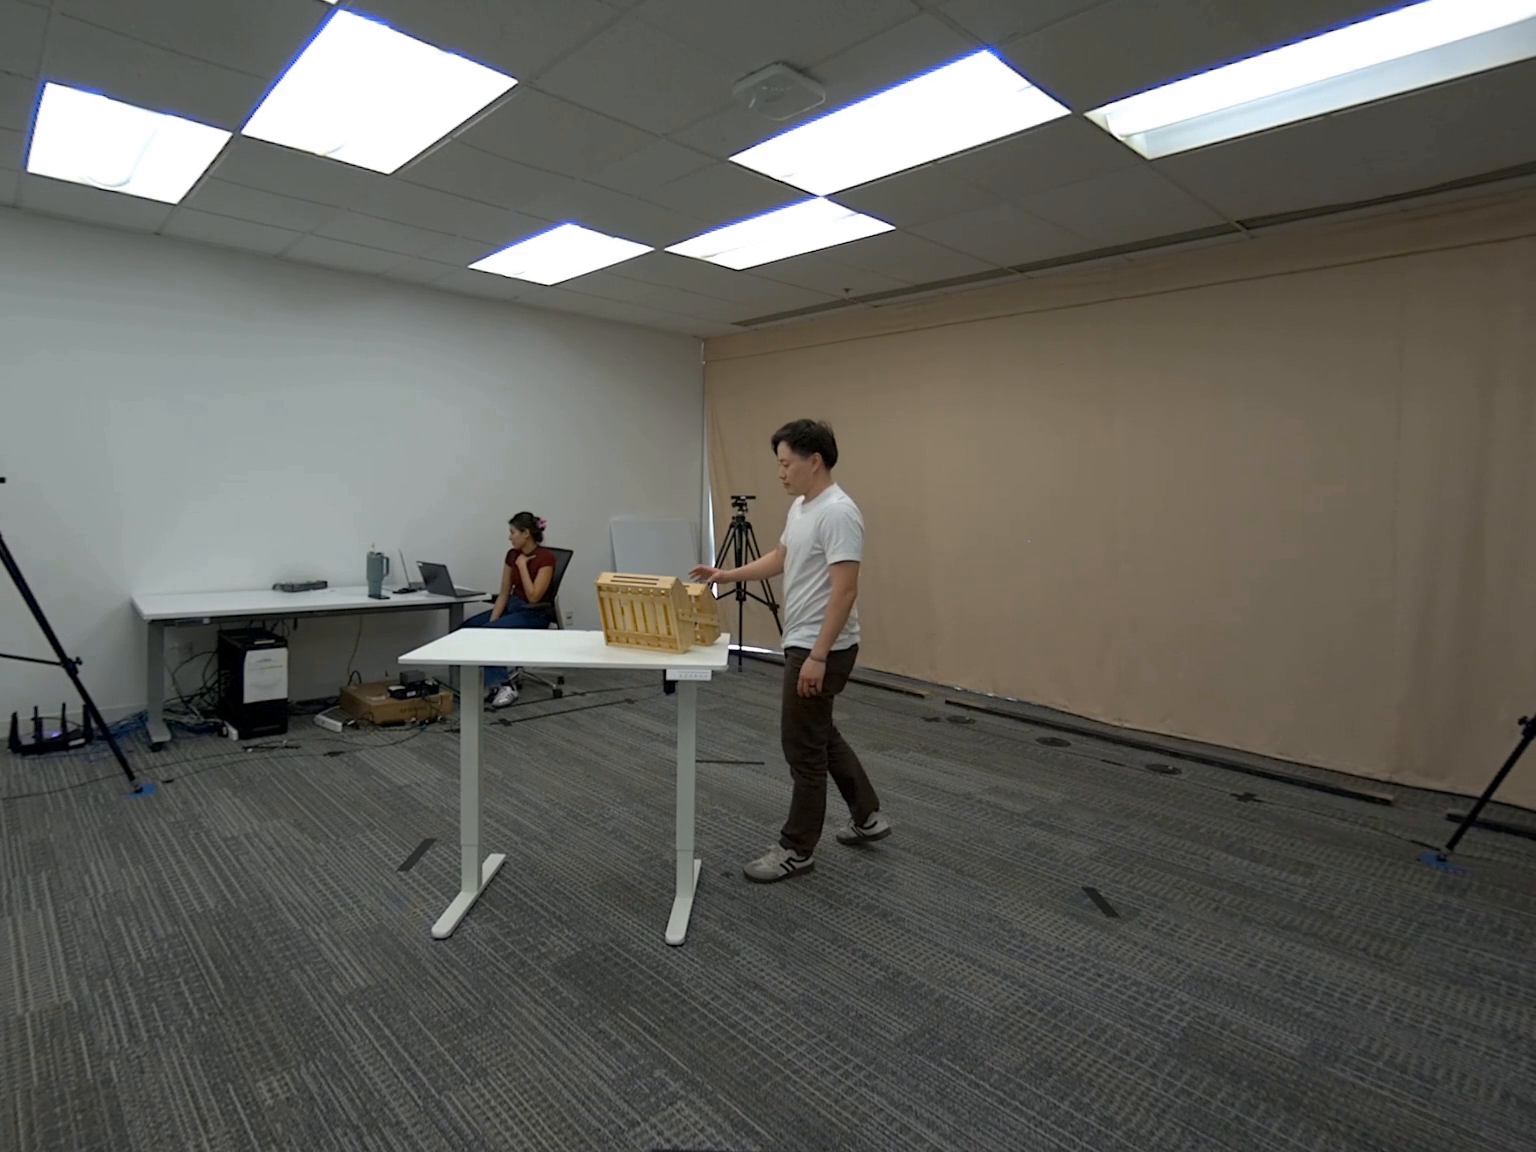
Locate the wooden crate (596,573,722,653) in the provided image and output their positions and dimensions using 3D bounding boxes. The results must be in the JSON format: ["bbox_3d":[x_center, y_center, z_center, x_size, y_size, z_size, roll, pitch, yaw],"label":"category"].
[{"bbox_3d":[-0.378,0.106,2.845,0.331,0.297,0.272,4,21,26],"label":"wooden crate"}]
